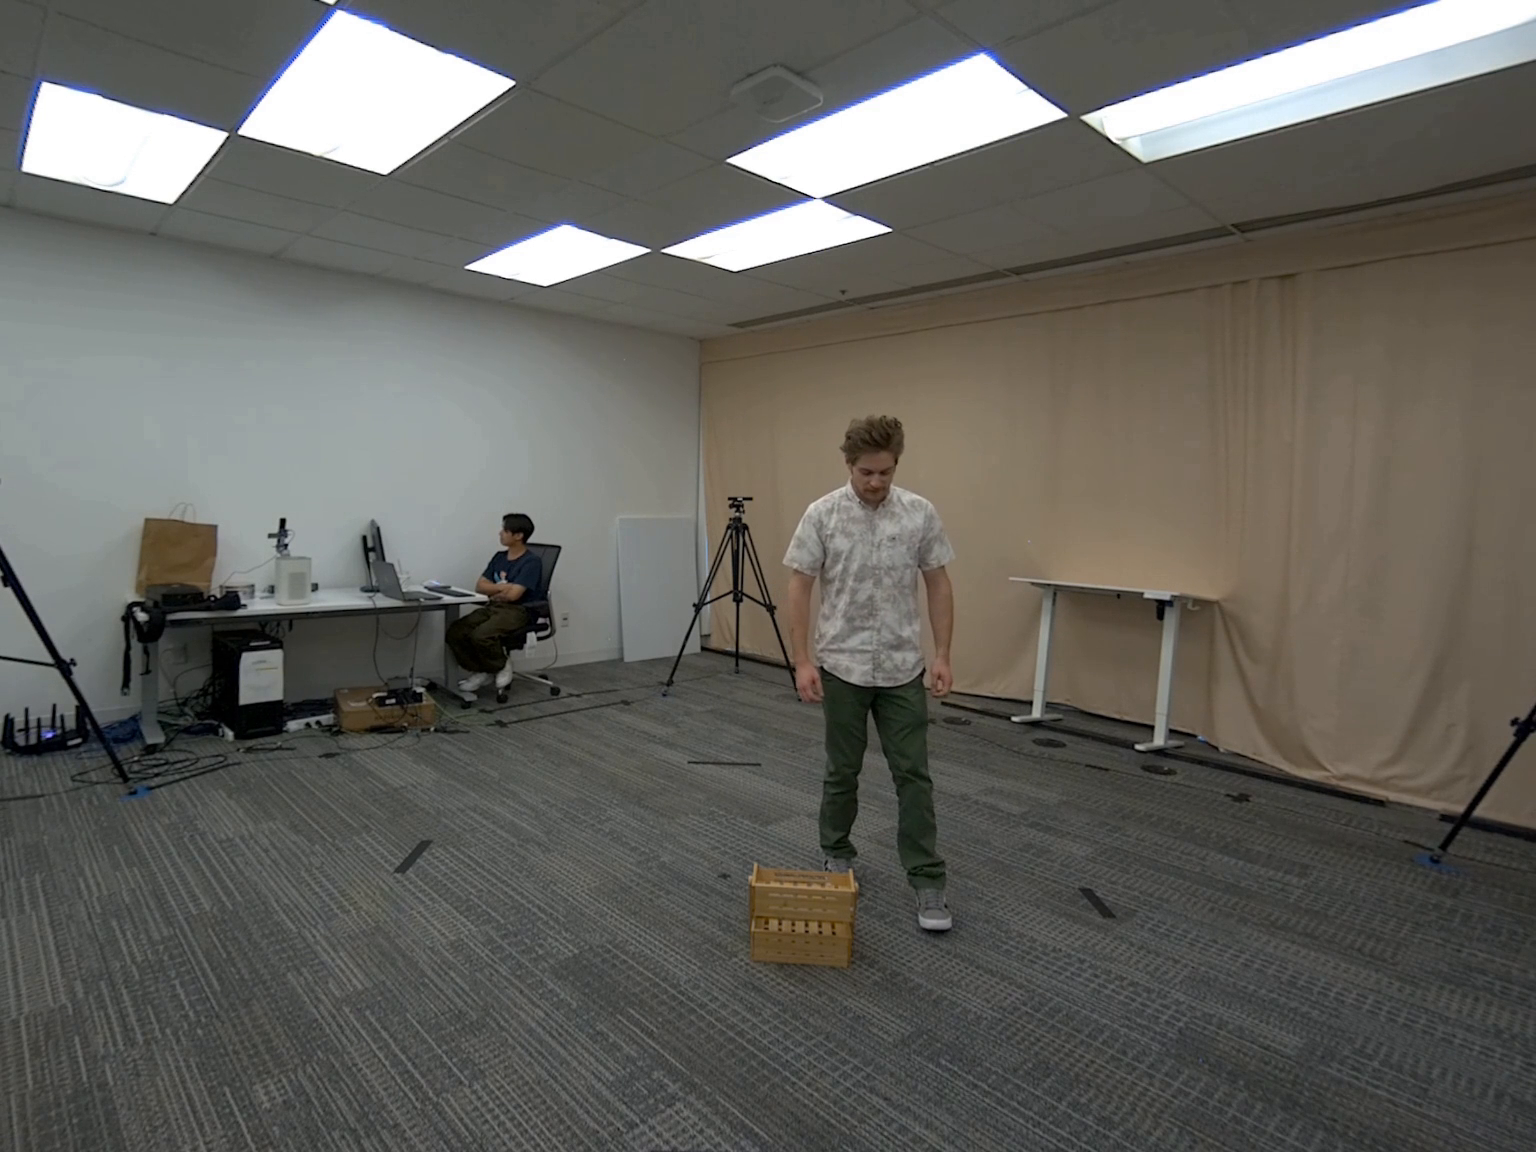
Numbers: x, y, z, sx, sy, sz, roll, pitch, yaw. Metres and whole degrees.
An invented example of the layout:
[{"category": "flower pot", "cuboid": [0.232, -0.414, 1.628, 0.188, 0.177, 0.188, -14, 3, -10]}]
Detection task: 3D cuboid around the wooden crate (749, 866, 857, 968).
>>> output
[{"category": "wooden crate", "cuboid": [0.102, 1.023, 2.617, 0.325, 0.272, 0.302, 2, 5, 4]}]
